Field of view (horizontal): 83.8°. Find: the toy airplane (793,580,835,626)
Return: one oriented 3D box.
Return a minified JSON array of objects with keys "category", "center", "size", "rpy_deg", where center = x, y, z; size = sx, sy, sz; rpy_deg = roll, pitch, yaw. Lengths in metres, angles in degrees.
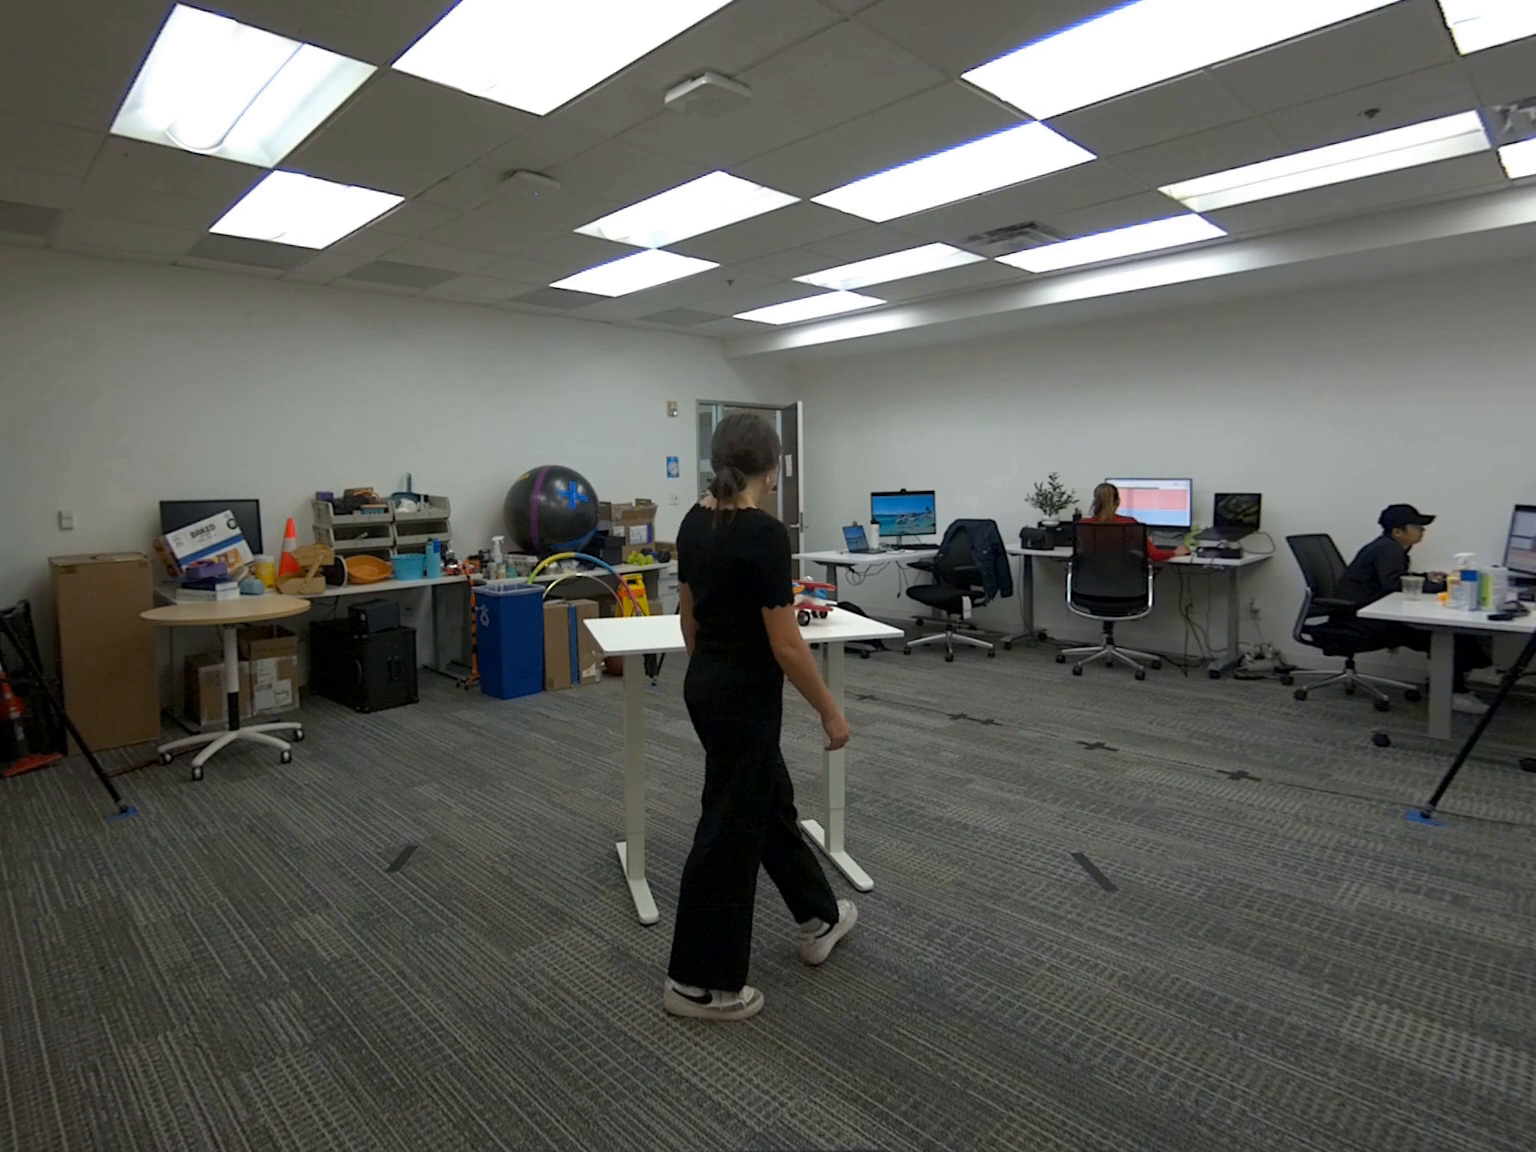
[{"category":"toy airplane","center":[0.122,0.086,3.091],"size":[0.253,0.156,0.258],"rpy_deg":[0,6,7]}]
